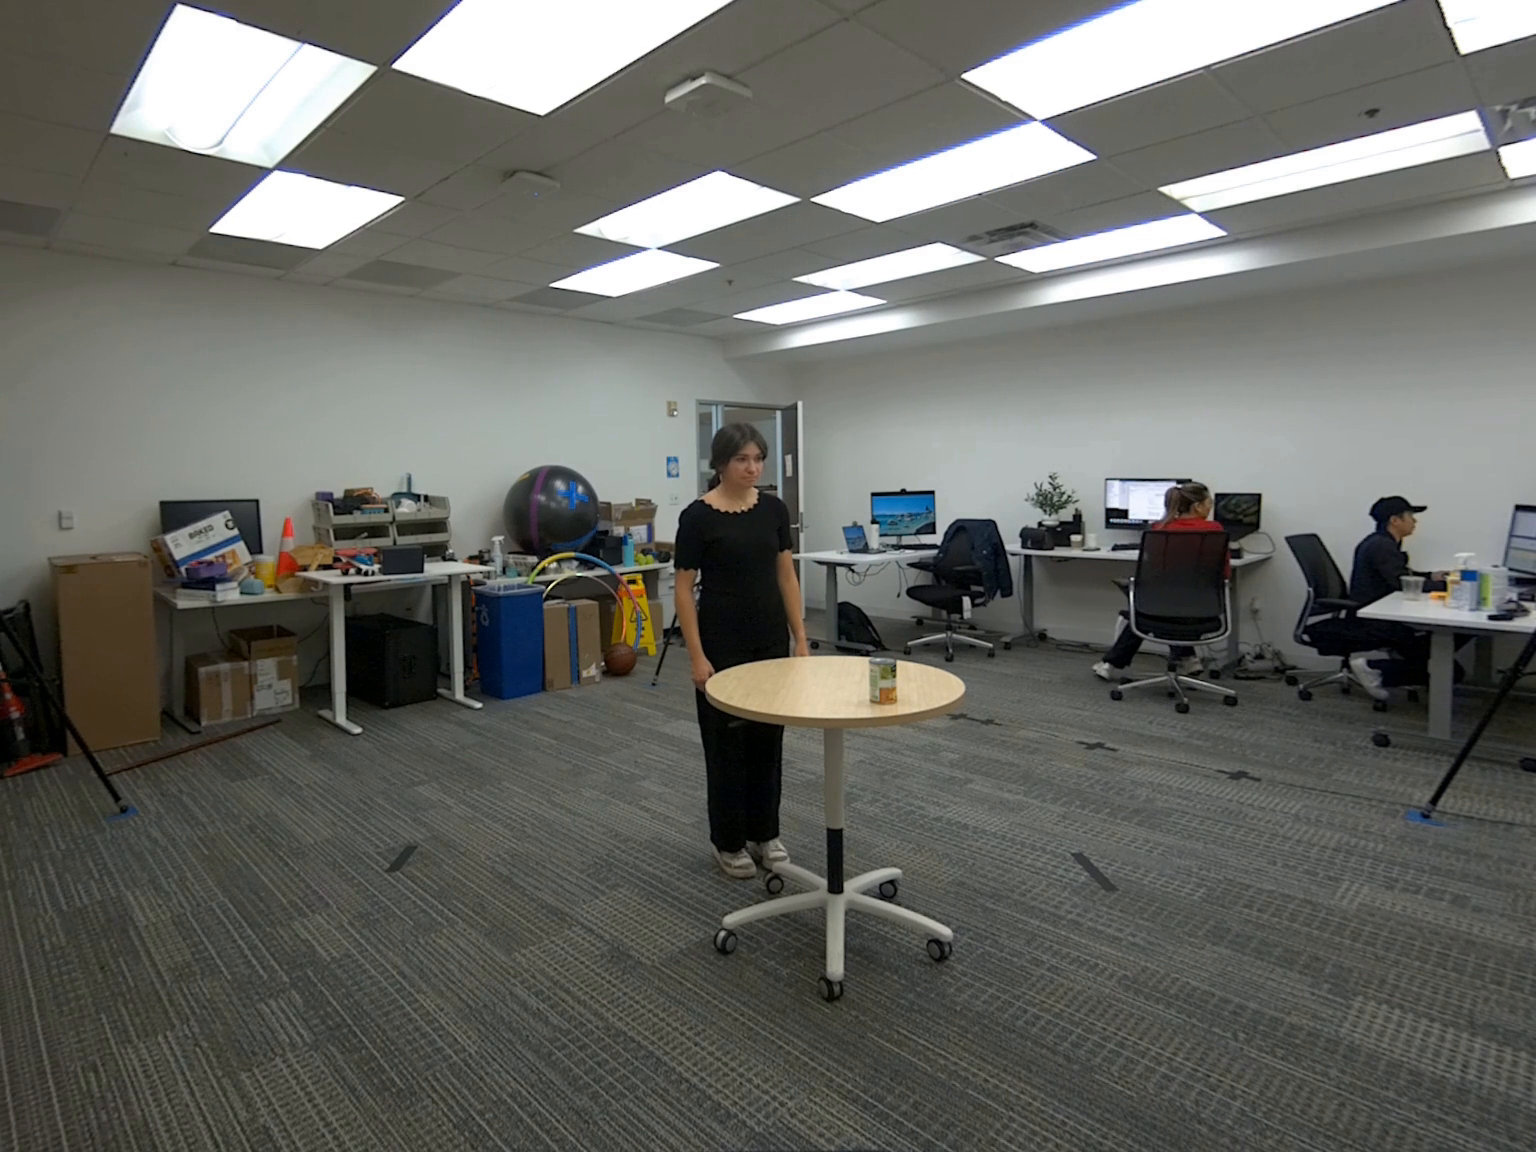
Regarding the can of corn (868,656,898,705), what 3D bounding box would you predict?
[{"bbox_3d":[0.319,0.289,2.325,0.074,0.110,0.075,-1,7,-2],"label":"can of corn"}]
